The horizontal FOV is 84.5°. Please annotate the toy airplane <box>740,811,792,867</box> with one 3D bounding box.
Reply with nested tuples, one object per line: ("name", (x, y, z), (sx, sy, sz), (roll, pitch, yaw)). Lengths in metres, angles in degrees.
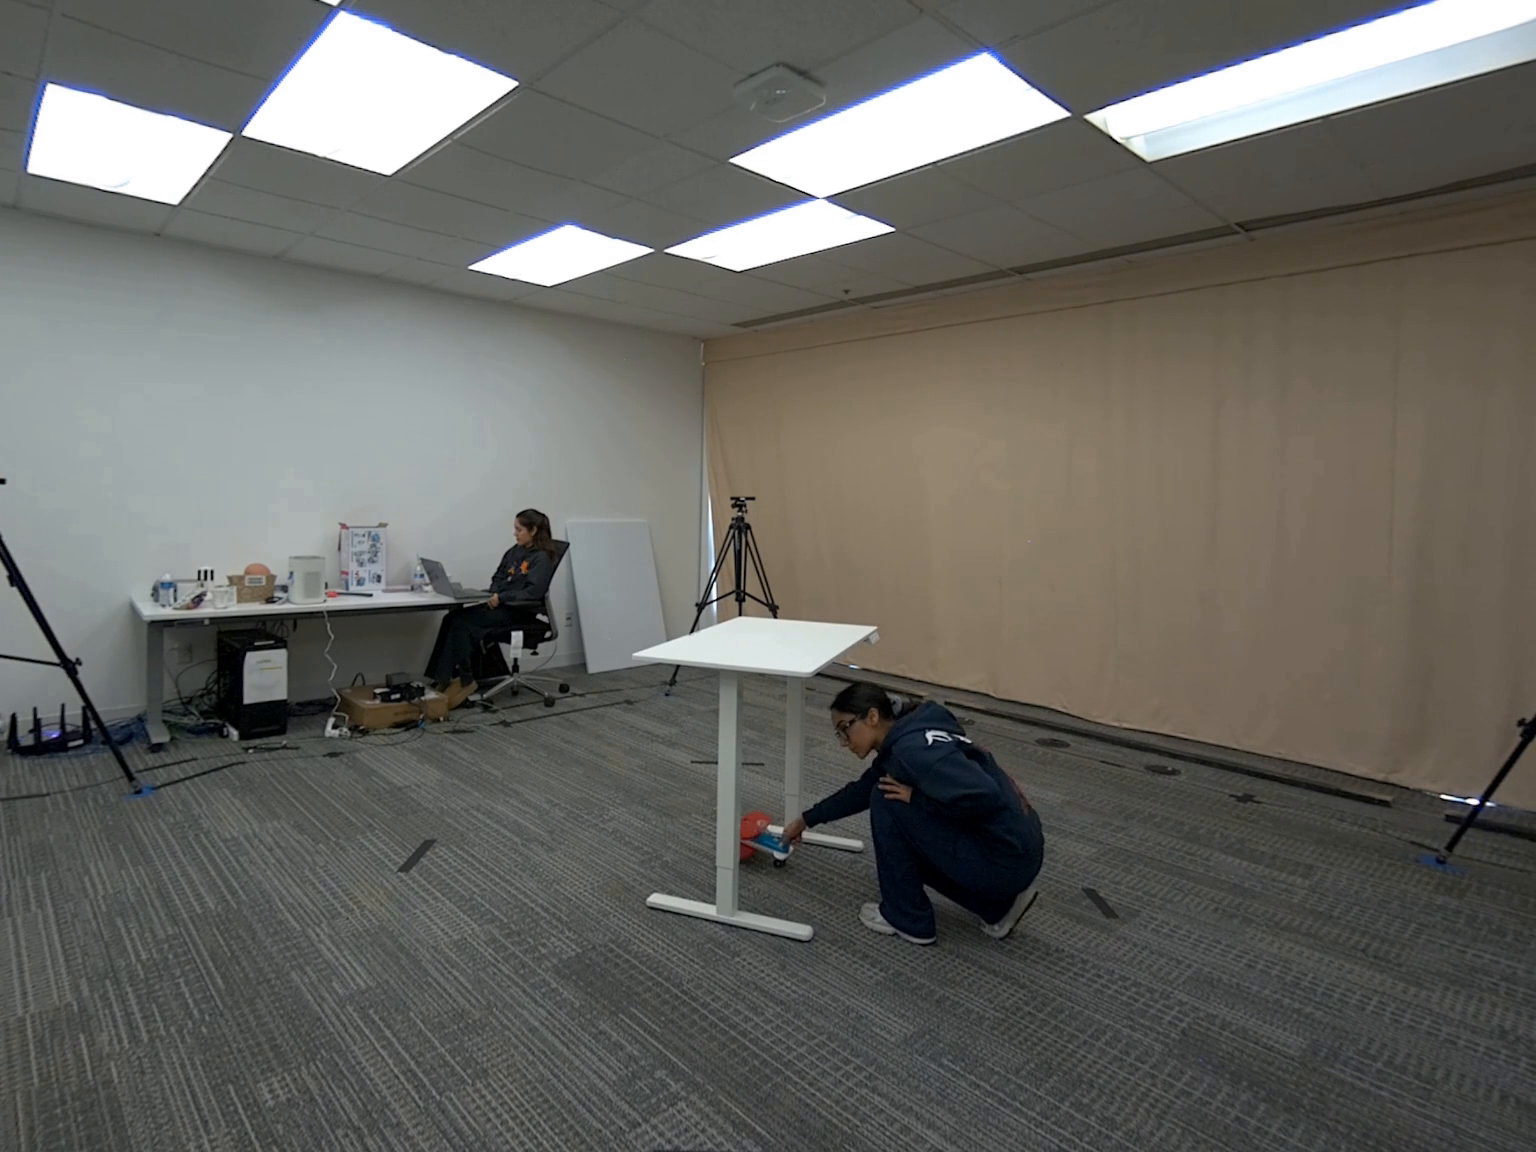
("toy airplane", (-0.041, 1.020, 3.262), (0.258, 0.156, 0.253), (-1, 5, -5))
